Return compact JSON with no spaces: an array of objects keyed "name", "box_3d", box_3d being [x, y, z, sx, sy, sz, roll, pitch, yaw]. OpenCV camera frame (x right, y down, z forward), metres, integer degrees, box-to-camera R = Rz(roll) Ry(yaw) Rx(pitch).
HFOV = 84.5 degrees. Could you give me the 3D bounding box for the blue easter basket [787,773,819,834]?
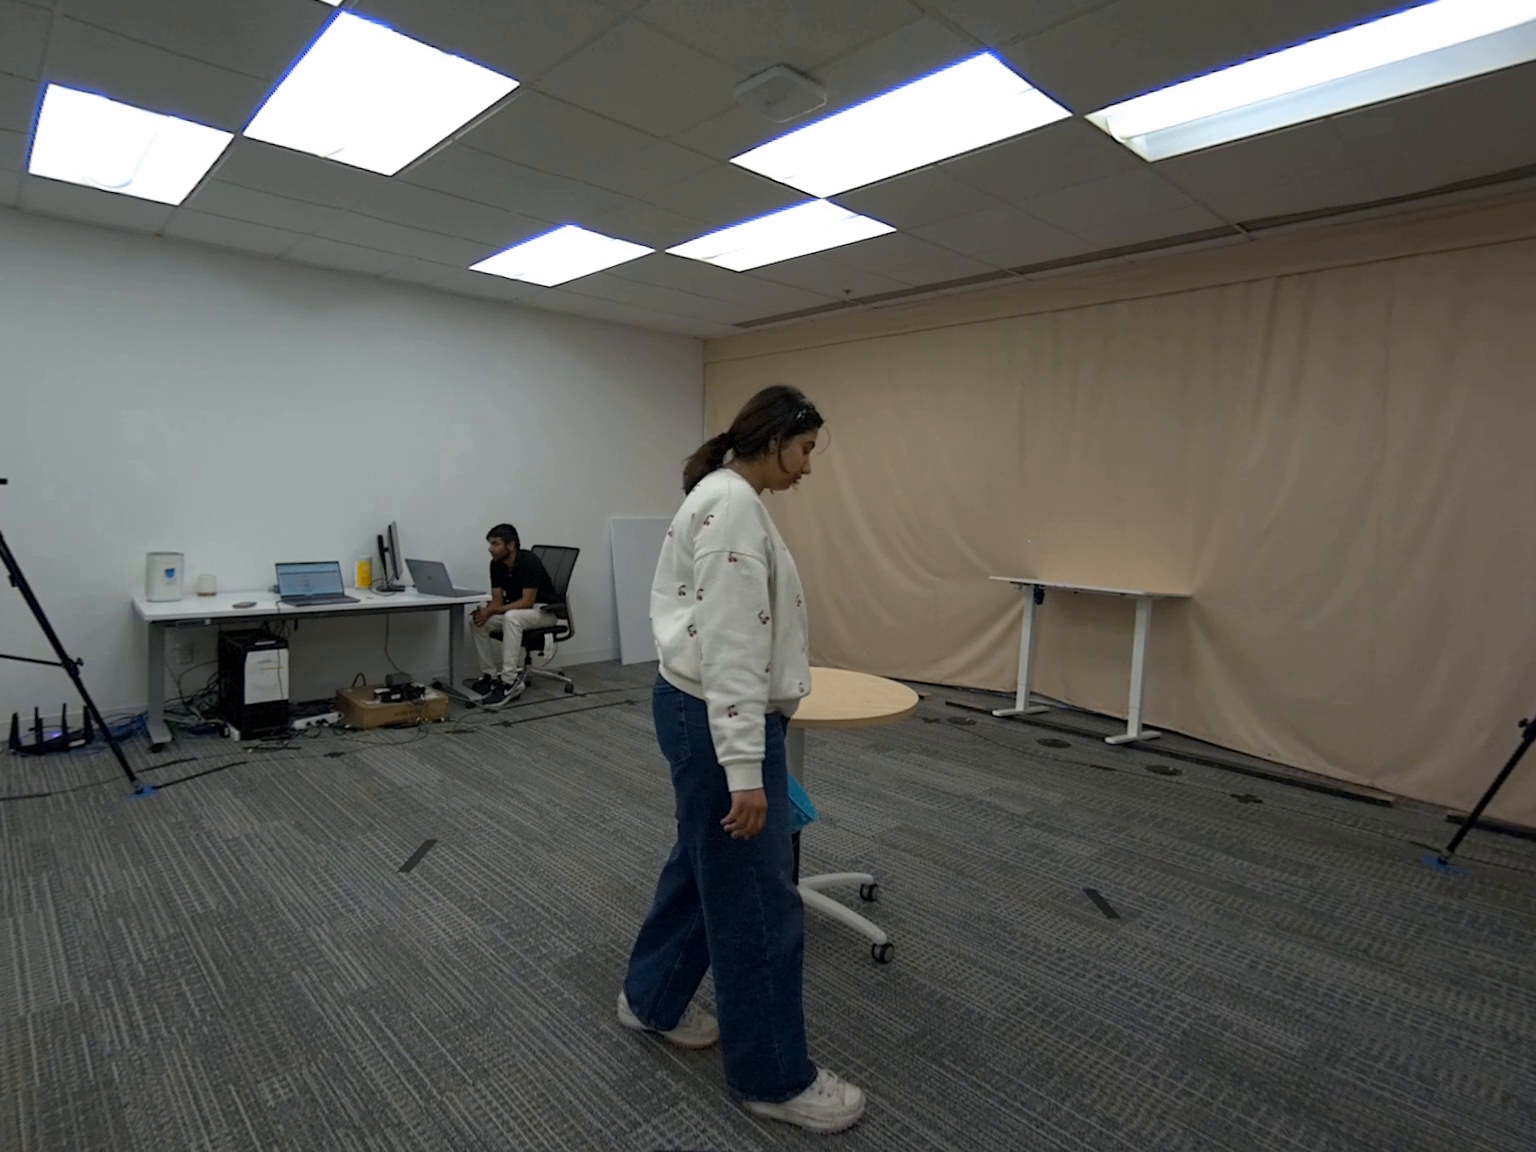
[{"name":"blue easter basket","box_3d":[0.007,0.618,2.243,0.156,0.244,0.243,-41,1,5]}]
